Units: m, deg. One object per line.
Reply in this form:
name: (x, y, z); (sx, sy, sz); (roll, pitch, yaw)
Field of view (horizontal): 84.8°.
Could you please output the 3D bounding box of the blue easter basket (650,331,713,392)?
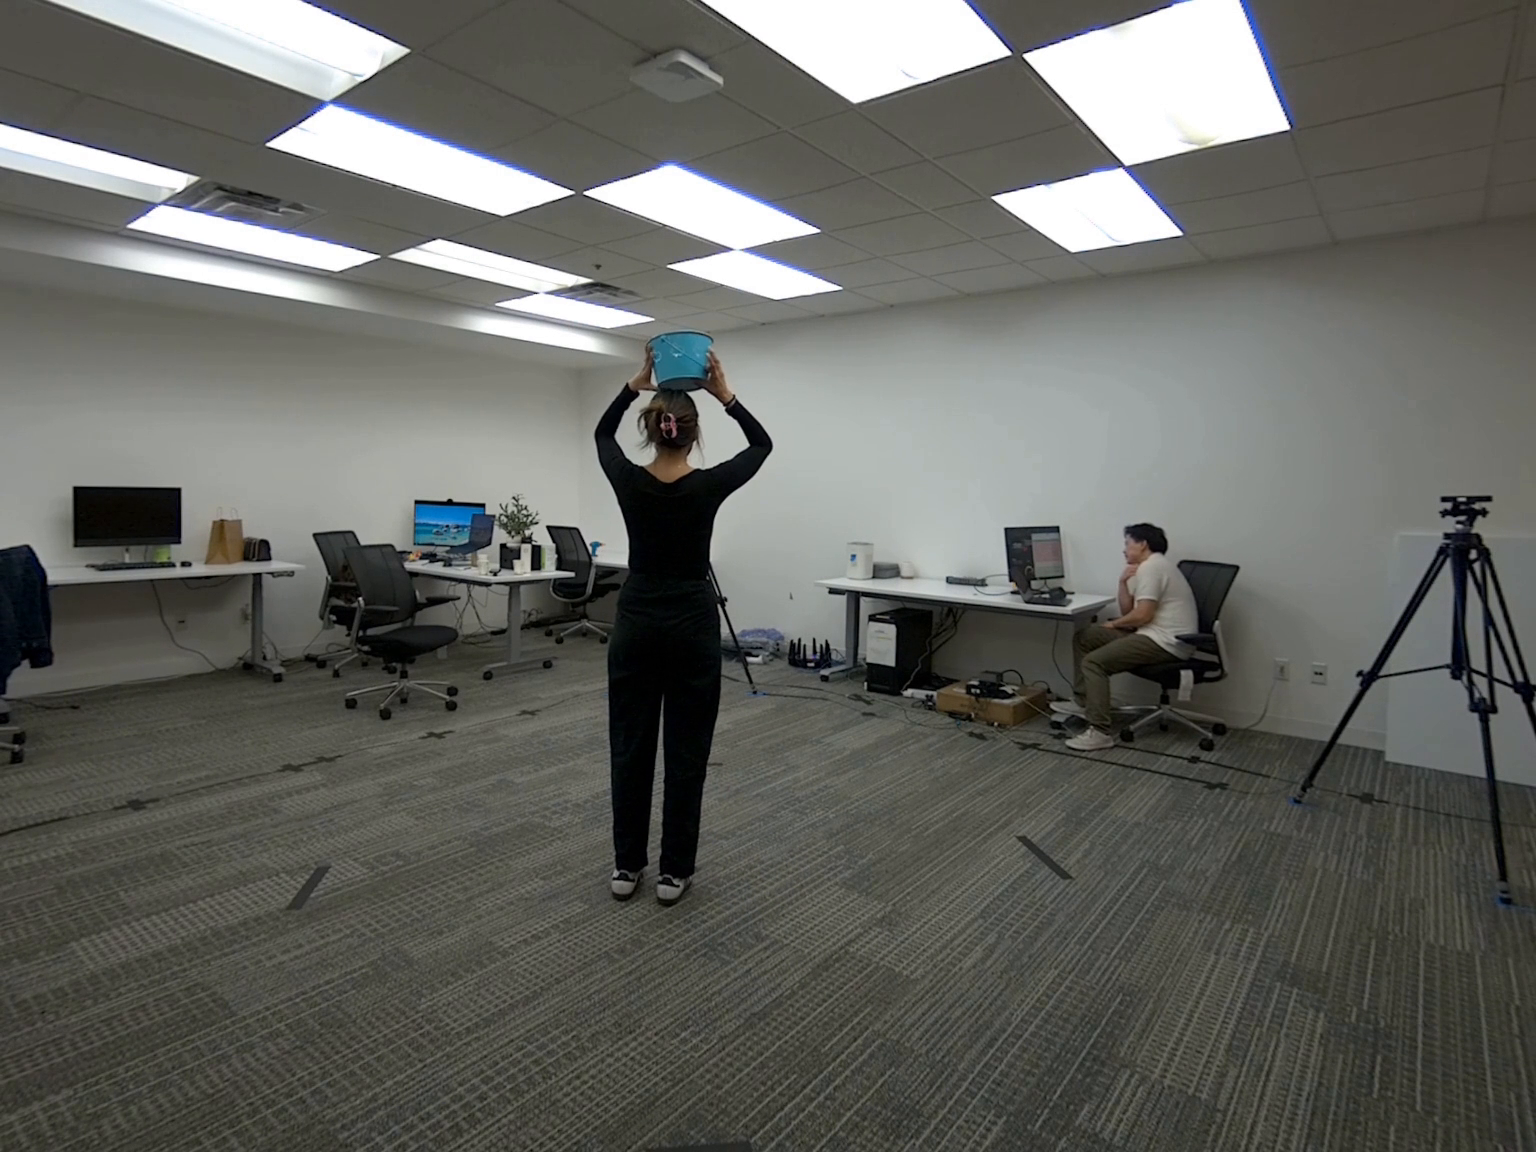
blue easter basket: (-0.314, -0.739, 2.932); (0.243, 0.157, 0.242); (-4, -7, -2)
